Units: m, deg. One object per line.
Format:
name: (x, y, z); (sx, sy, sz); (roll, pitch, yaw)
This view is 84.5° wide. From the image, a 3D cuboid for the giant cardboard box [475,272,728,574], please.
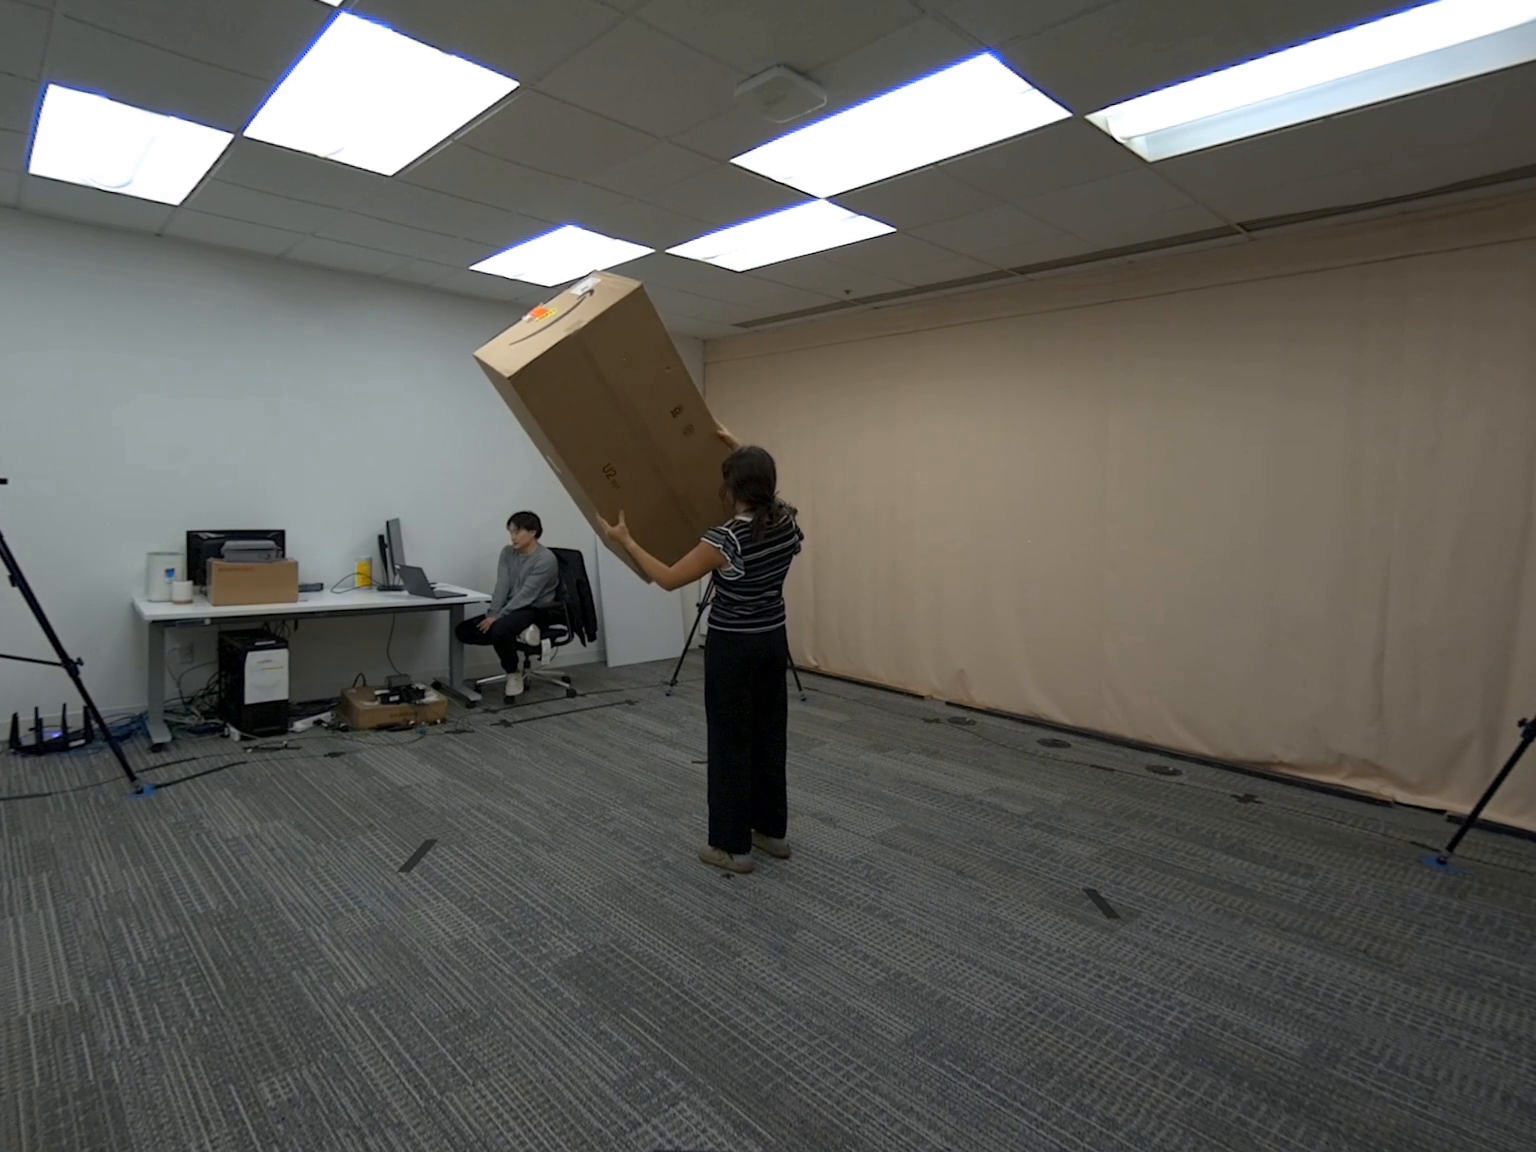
giant cardboard box: (-0.569, -0.566, 3.281); (0.576, 0.995, 0.440); (-40, 40, -13)
